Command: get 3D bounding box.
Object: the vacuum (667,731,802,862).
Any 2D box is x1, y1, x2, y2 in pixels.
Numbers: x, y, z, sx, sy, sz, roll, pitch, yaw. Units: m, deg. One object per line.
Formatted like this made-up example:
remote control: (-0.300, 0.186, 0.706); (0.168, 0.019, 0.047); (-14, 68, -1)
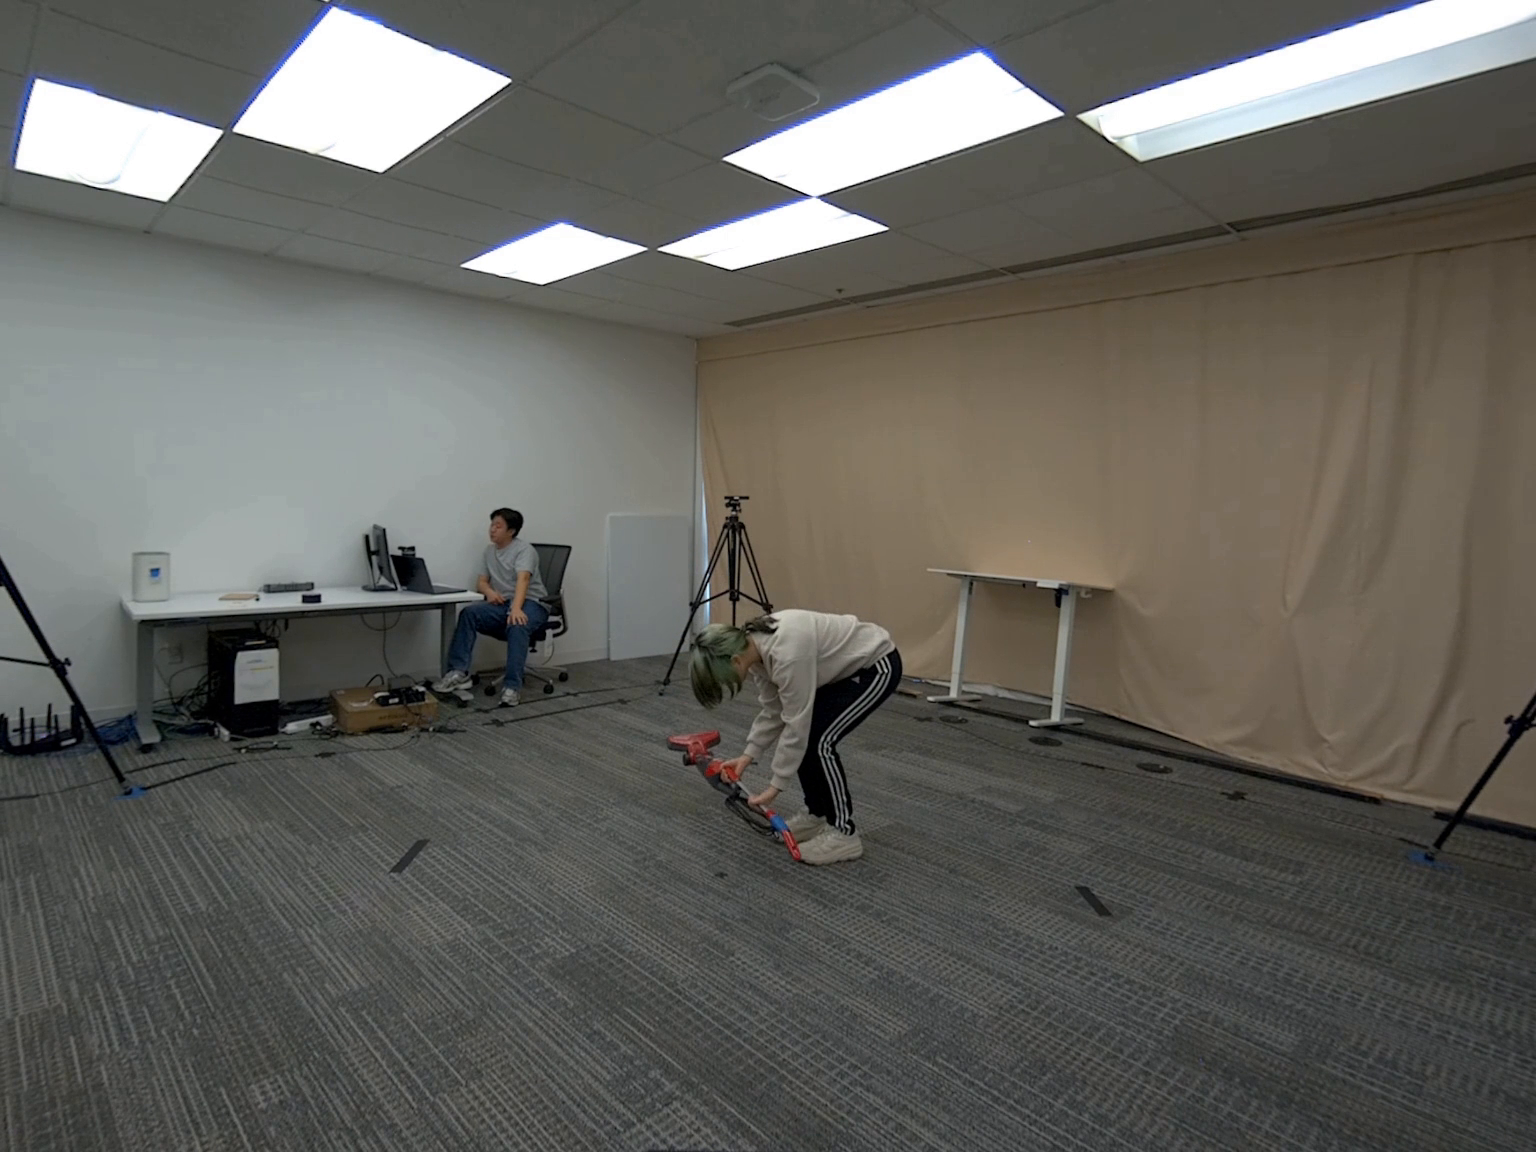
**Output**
vacuum: (-0.120, 0.860, 3.318); (0.248, 0.143, 1.073); (0, 9, -24)
